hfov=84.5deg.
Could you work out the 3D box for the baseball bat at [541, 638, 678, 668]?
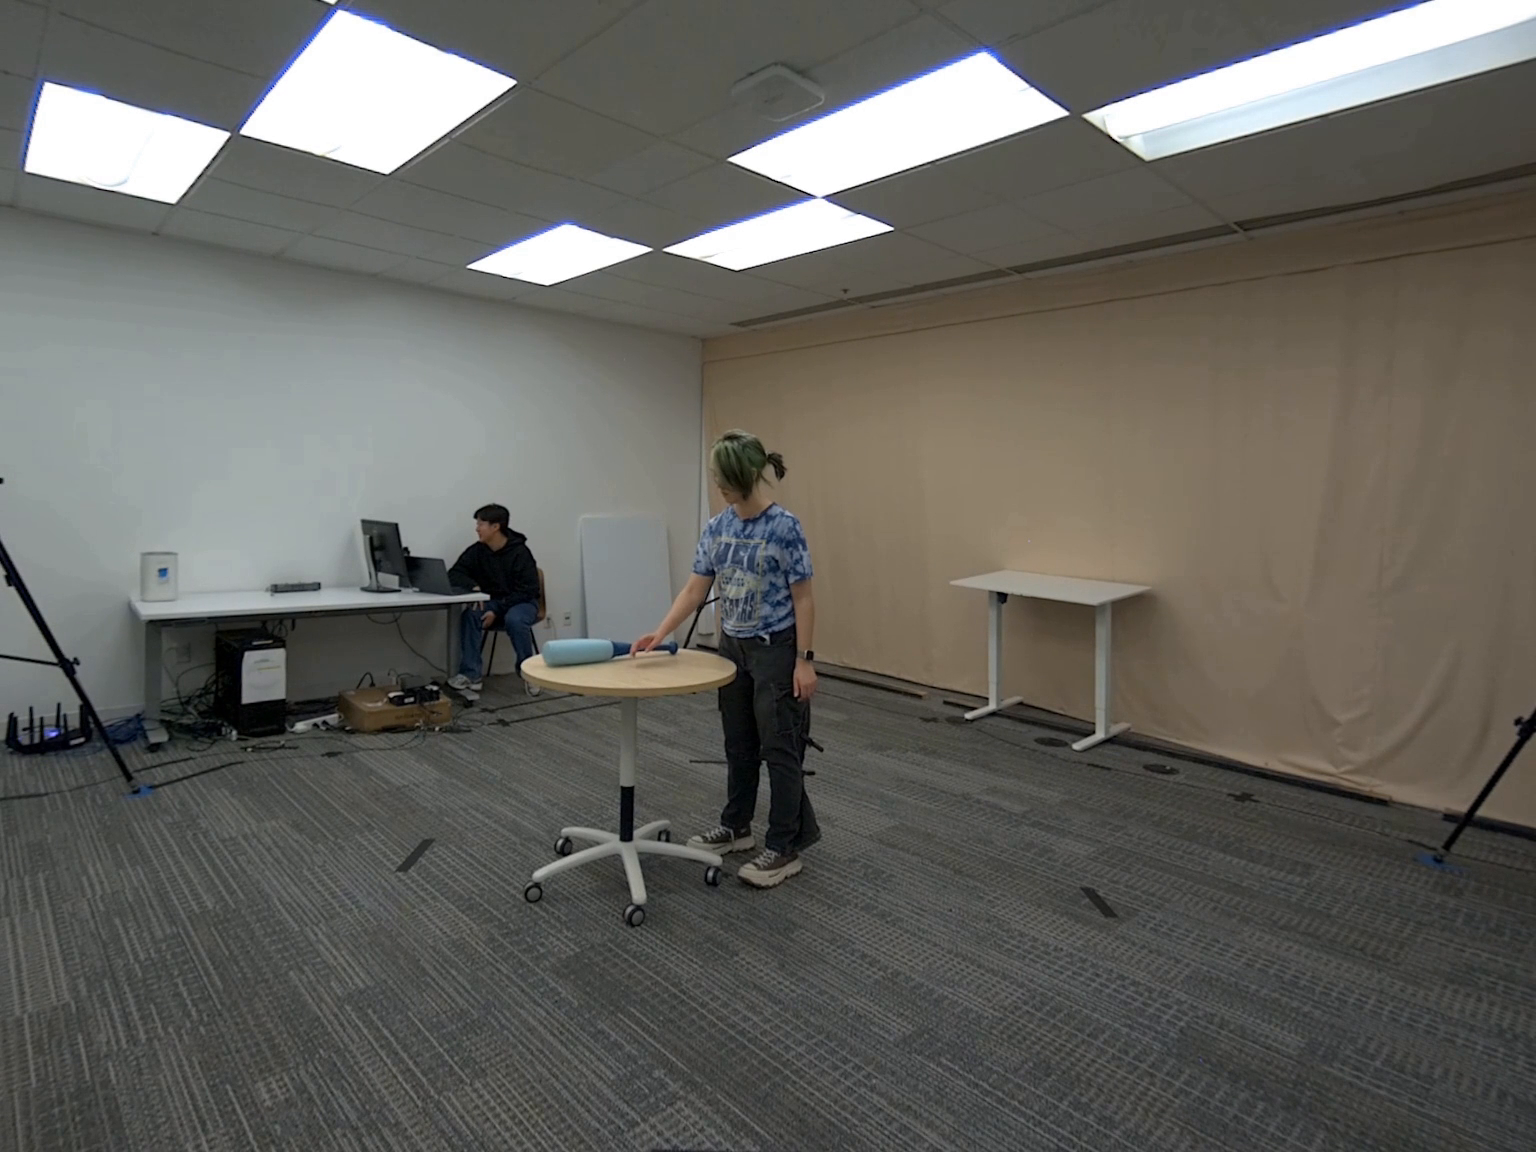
[{"bbox_3d":[-0.572,0.277,3.093,0.530,0.089,0.091,1,4,-38],"label":"baseball bat"}]
